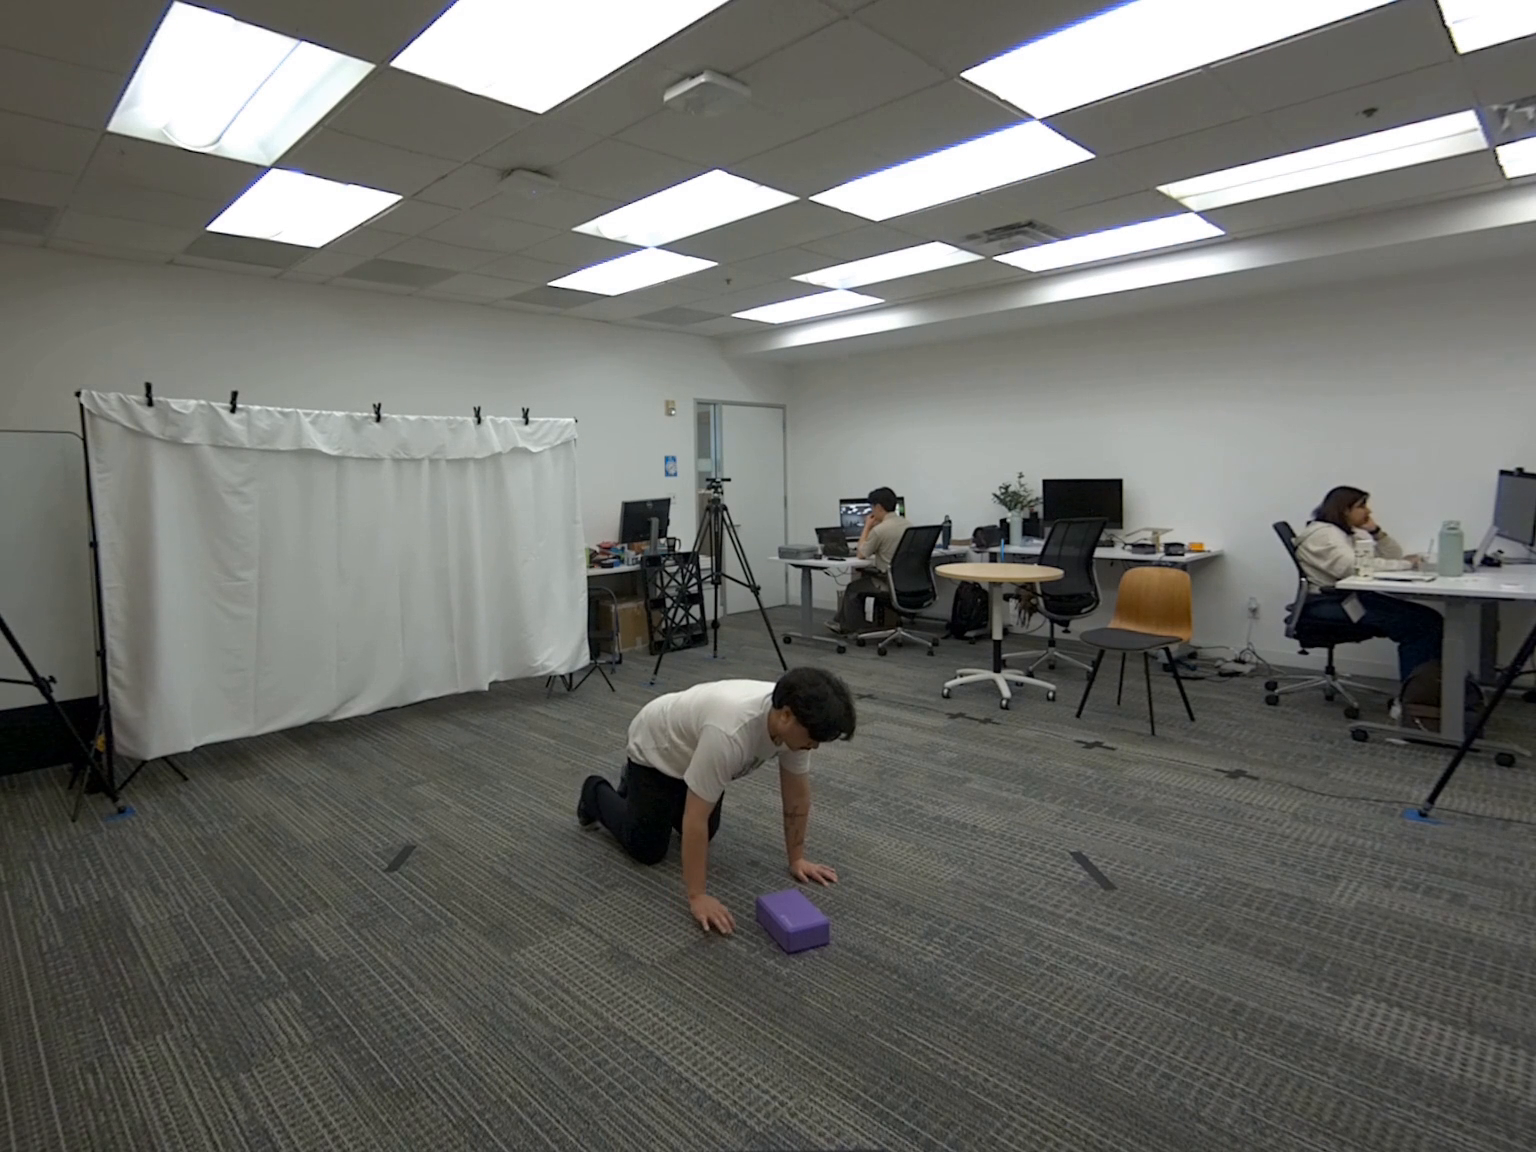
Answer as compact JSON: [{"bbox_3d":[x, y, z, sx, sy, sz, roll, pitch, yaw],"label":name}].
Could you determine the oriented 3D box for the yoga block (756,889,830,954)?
[{"bbox_3d":[0.076,1.057,2.626,0.146,0.076,0.235,-3,7,-24],"label":"yoga block"}]
